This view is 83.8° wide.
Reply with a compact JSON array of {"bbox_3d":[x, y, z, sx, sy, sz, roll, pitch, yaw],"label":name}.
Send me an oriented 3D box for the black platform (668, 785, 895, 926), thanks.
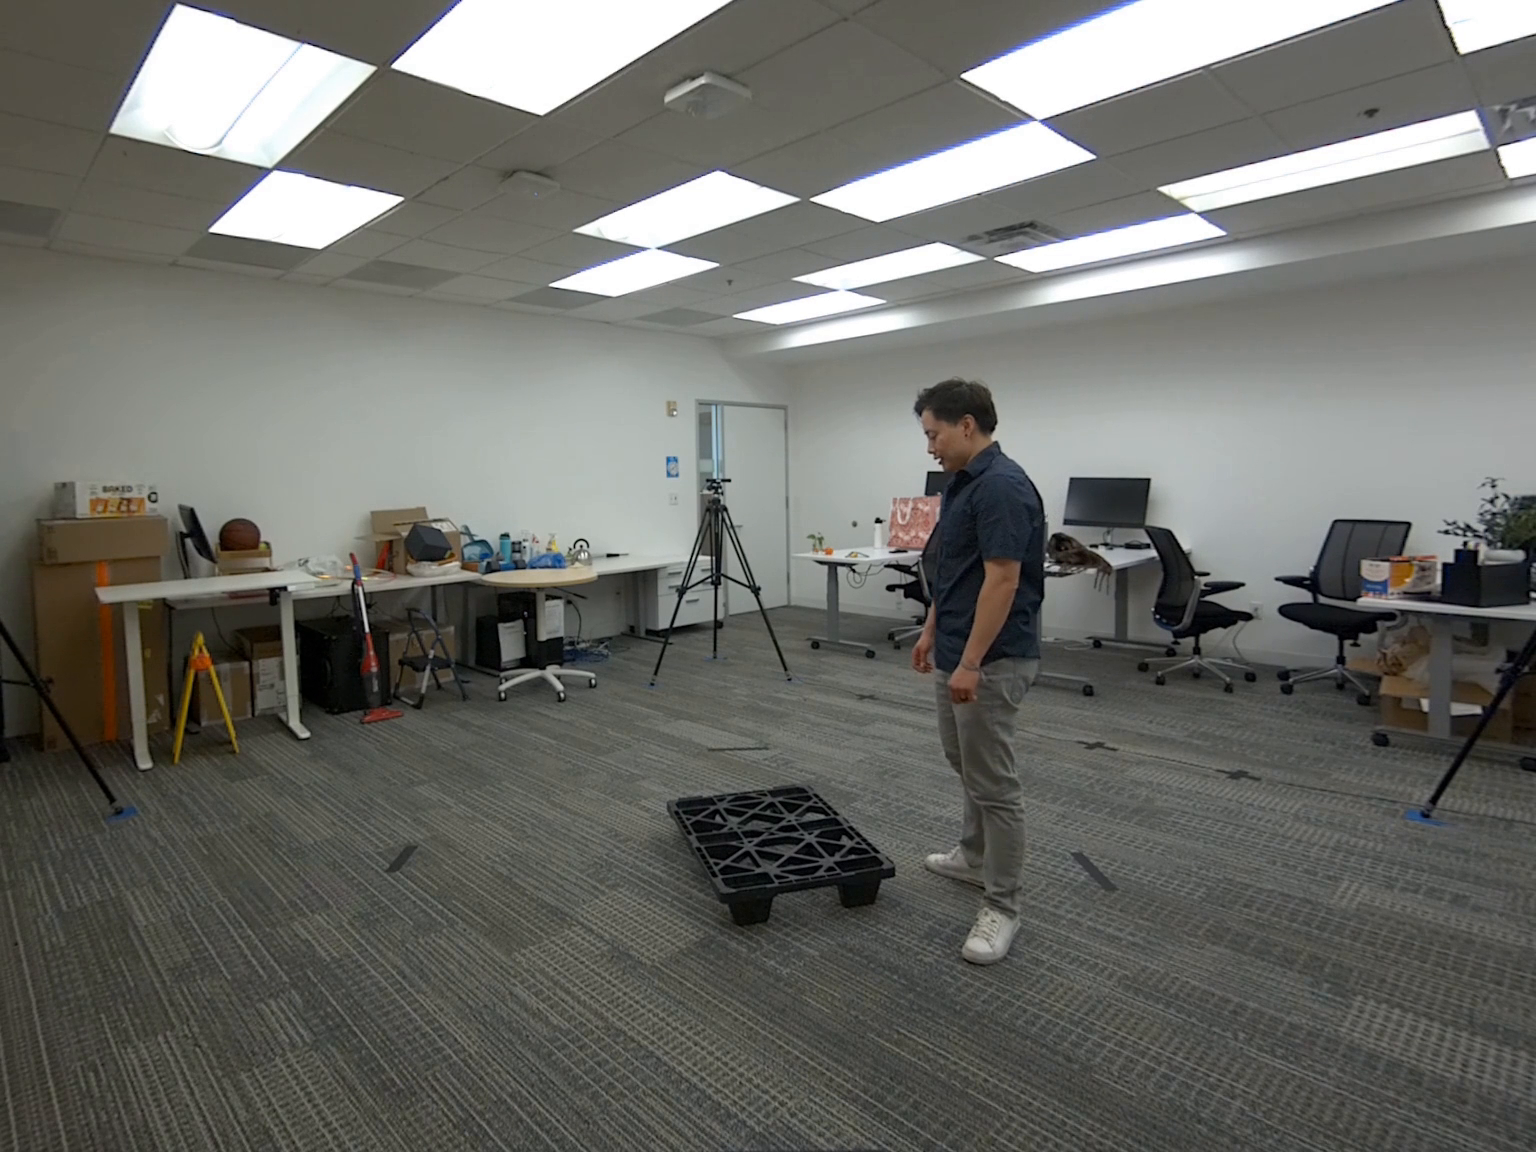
[{"bbox_3d":[0.009,0.978,3.073,0.596,0.143,0.821,-4,6,-18],"label":"black platform"}]
